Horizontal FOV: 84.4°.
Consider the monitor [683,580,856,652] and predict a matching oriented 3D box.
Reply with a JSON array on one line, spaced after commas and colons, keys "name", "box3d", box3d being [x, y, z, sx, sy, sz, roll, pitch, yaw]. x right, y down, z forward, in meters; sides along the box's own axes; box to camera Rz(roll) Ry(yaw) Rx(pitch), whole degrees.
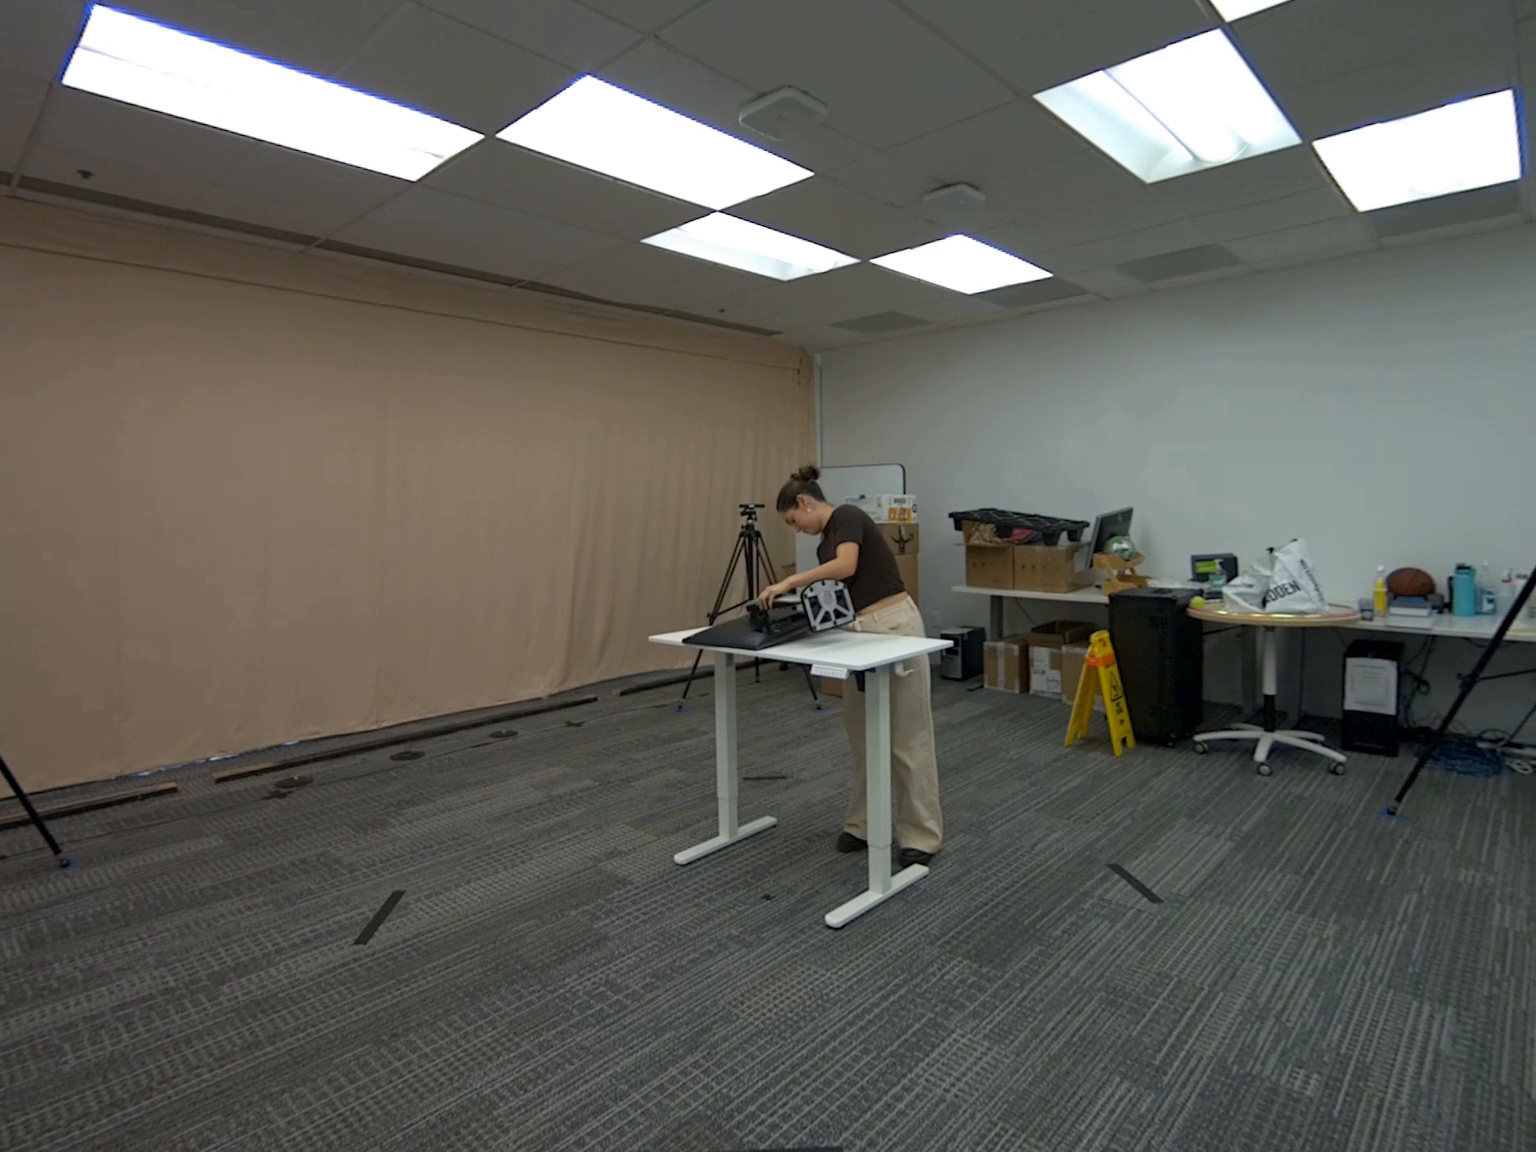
[{"name": "monitor", "box3d": [0.038, 0.156, 3.180, 0.535, 0.188, 0.524, -18, -4, 41]}]
